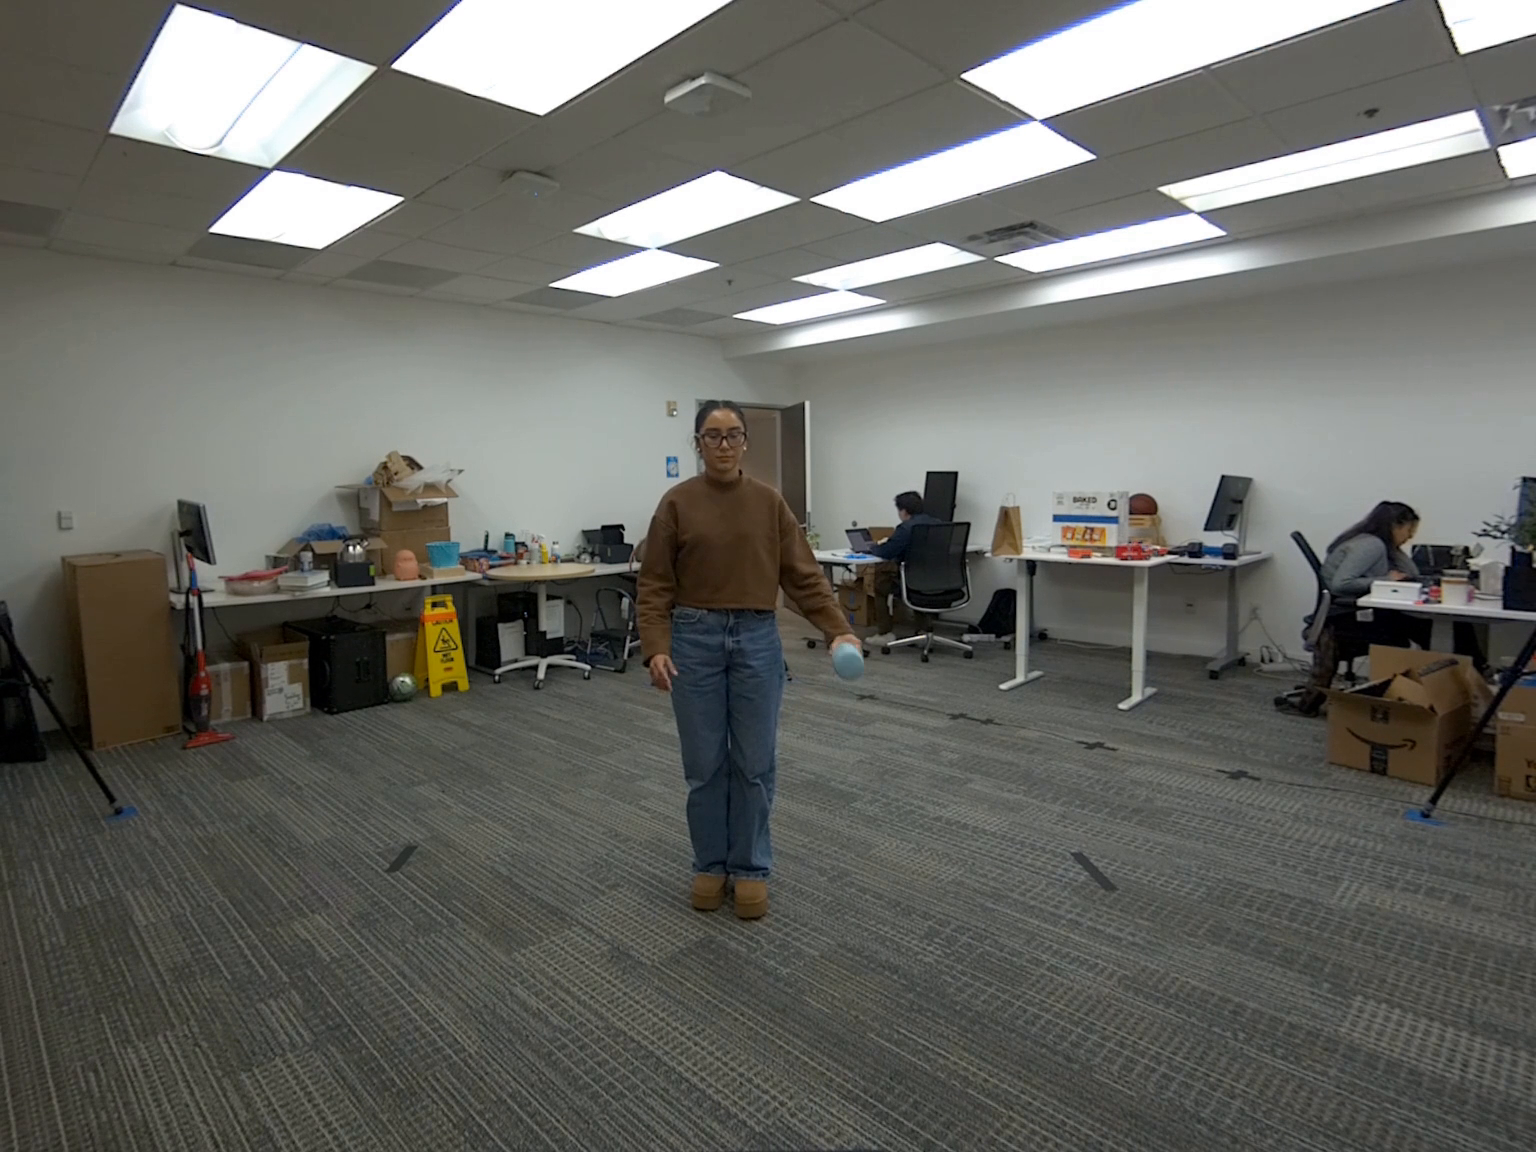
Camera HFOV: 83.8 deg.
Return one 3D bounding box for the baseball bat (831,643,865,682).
[{"bbox_3d":[0.216,0.233,2.635,0.089,0.089,0.543,-1,4,1],"label":"baseball bat"}]
